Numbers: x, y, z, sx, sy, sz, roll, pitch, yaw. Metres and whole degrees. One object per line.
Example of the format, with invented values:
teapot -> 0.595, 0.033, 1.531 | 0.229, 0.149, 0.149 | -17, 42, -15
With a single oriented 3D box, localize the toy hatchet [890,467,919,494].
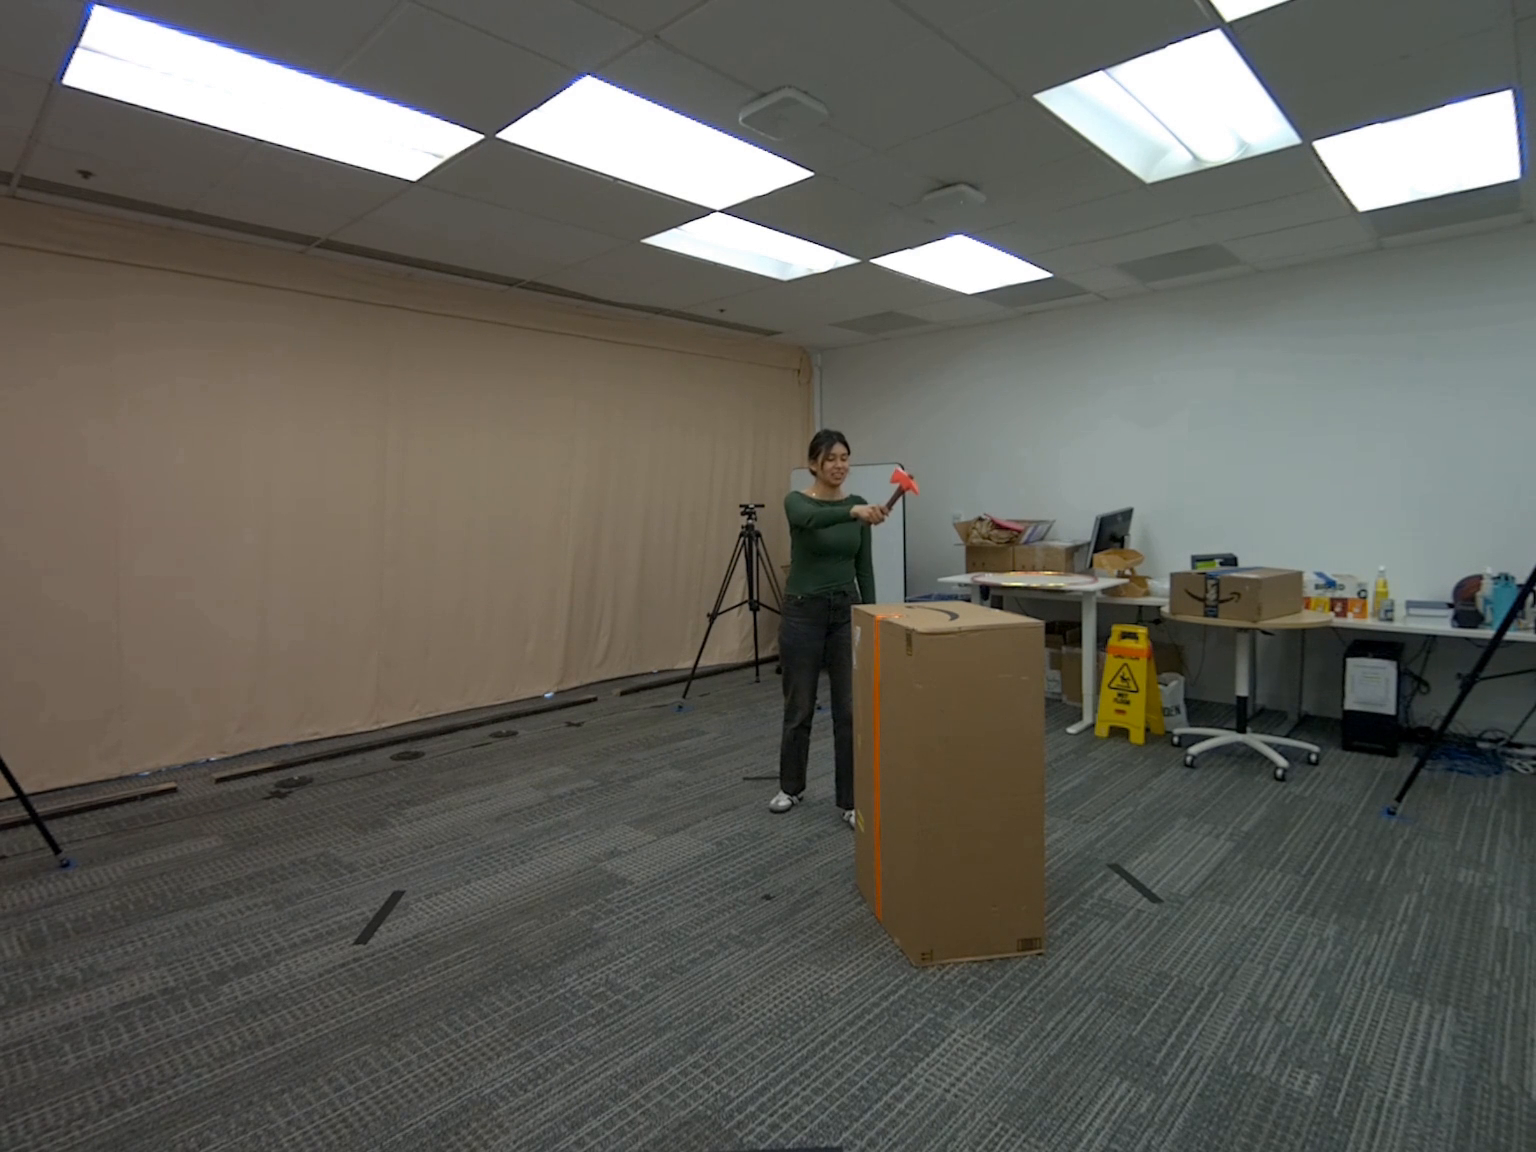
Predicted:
toy hatchet -> 0.426, -0.286, 3.062 | 0.028, 0.133, 0.274 | 4, -26, -41
